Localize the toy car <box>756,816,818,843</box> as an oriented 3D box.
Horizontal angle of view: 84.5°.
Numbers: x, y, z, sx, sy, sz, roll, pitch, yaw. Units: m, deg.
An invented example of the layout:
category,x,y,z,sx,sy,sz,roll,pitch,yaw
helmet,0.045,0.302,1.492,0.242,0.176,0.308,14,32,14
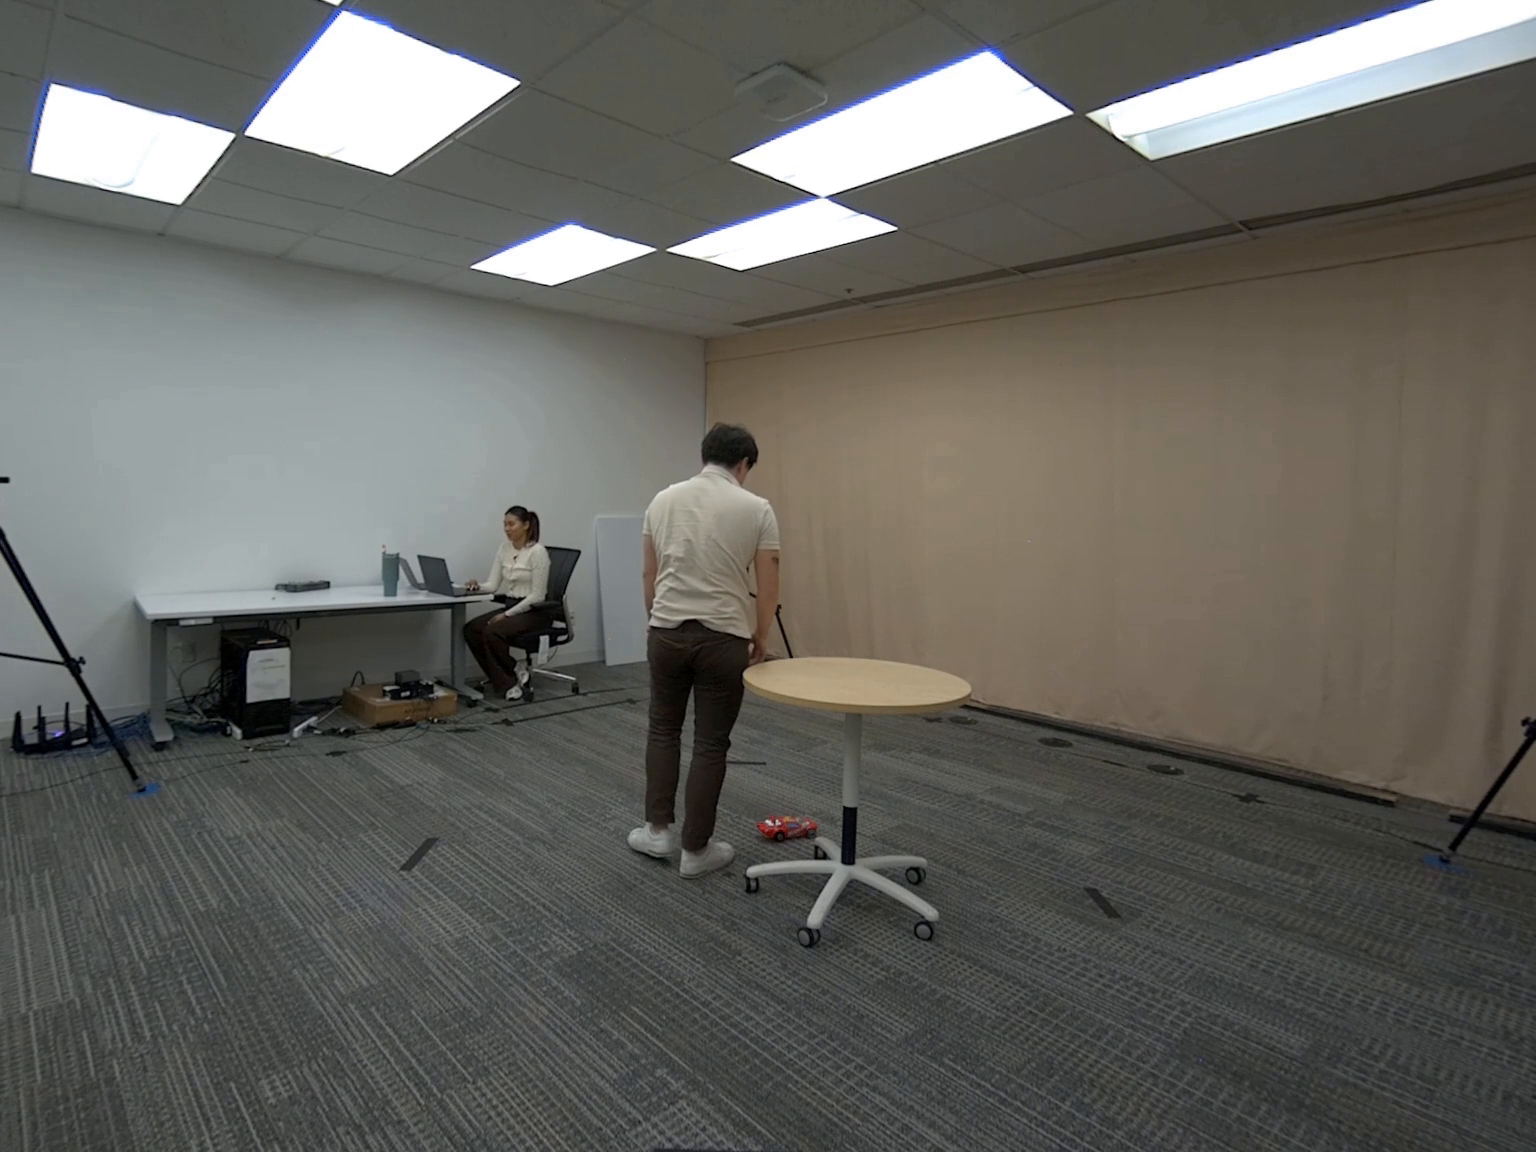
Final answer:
category,x,y,z,sx,sy,sz,roll,pitch,yaw
toy car,0.066,1.044,3.481,0.250,0.083,0.133,11,0,-21
